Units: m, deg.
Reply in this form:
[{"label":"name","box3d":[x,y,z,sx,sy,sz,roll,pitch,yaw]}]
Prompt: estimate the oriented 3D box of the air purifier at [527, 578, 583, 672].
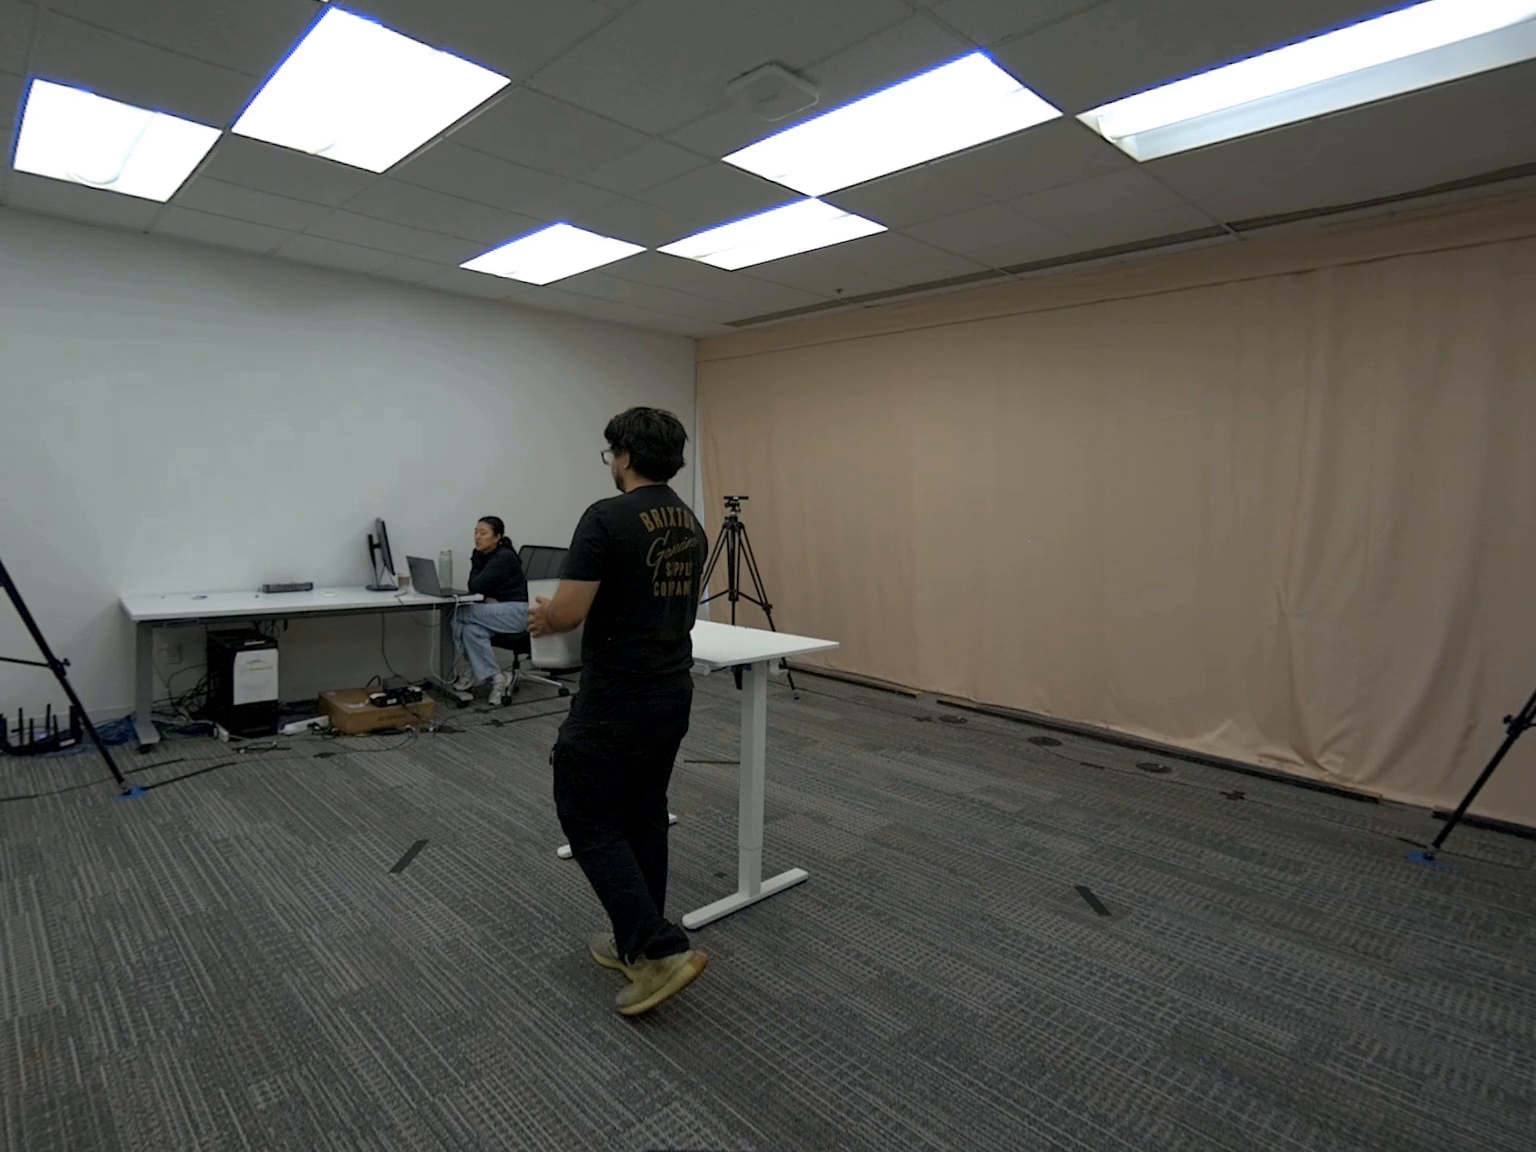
[{"label":"air purifier","box3d":[-0.630,0.144,2.579,0.175,0.265,0.168,-4,-1,28]}]
